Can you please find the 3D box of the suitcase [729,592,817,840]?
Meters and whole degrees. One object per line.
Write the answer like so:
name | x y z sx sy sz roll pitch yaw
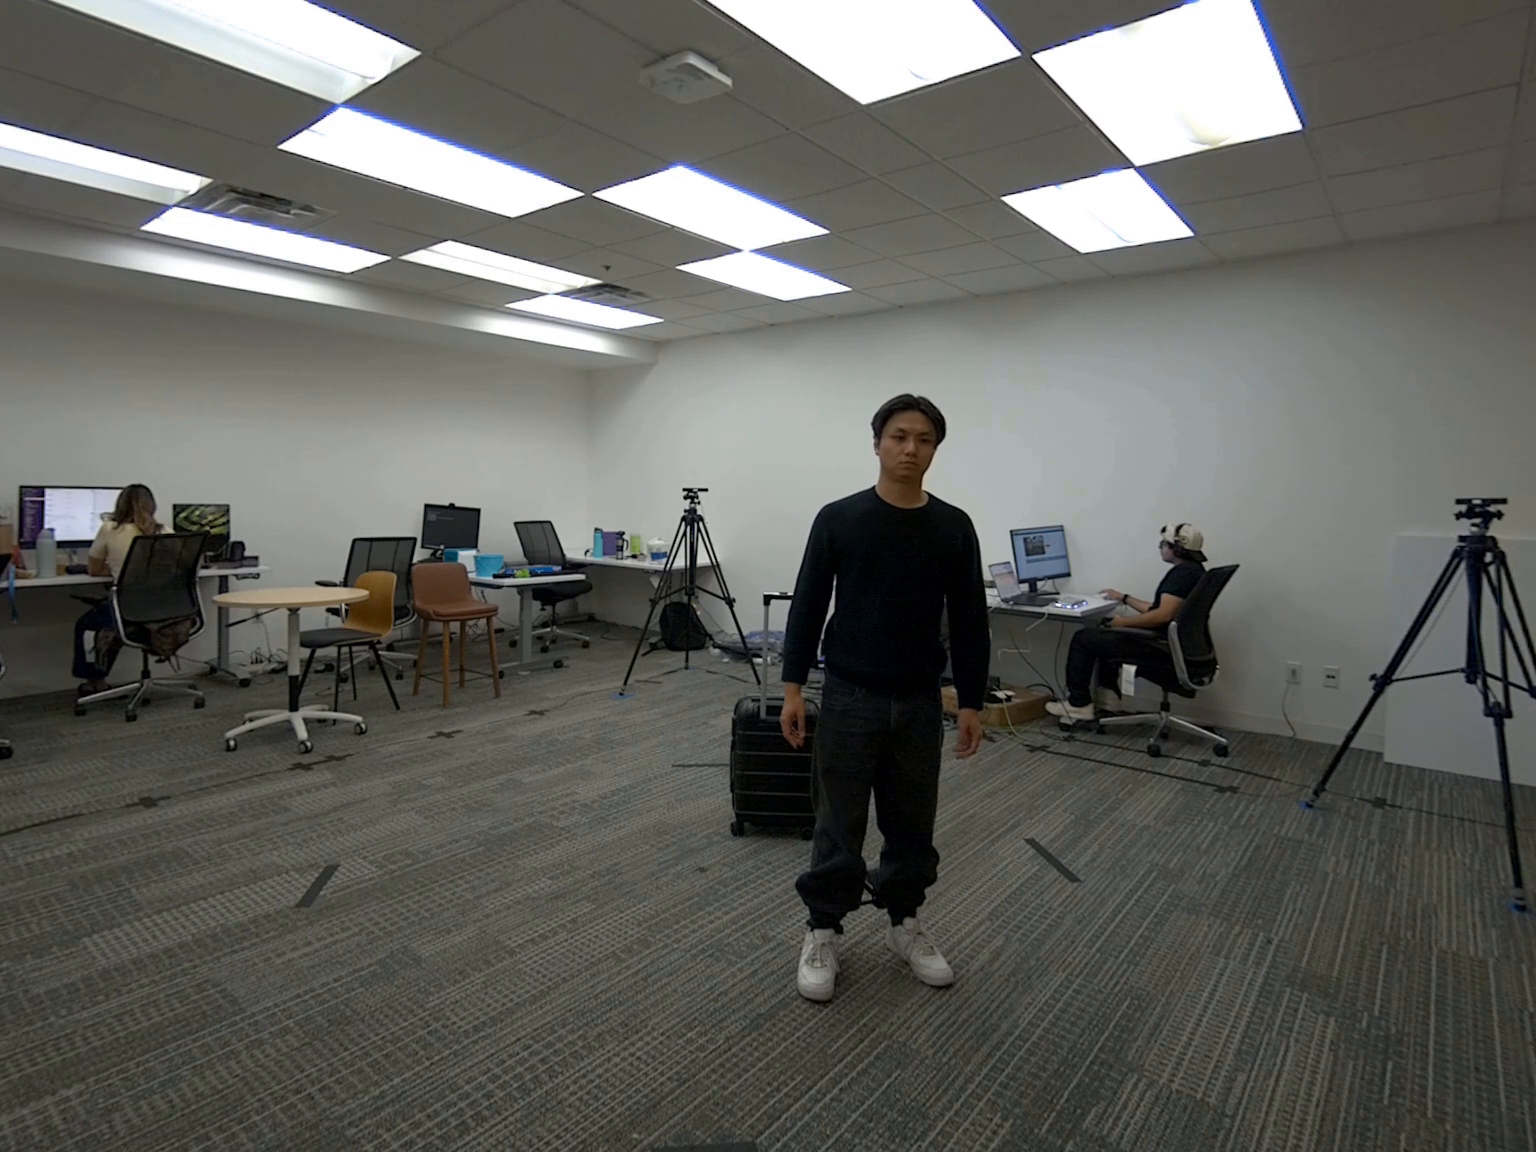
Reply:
suitcase | 0.031 0.558 3.496 0.384 0.977 0.257 2 2 0
